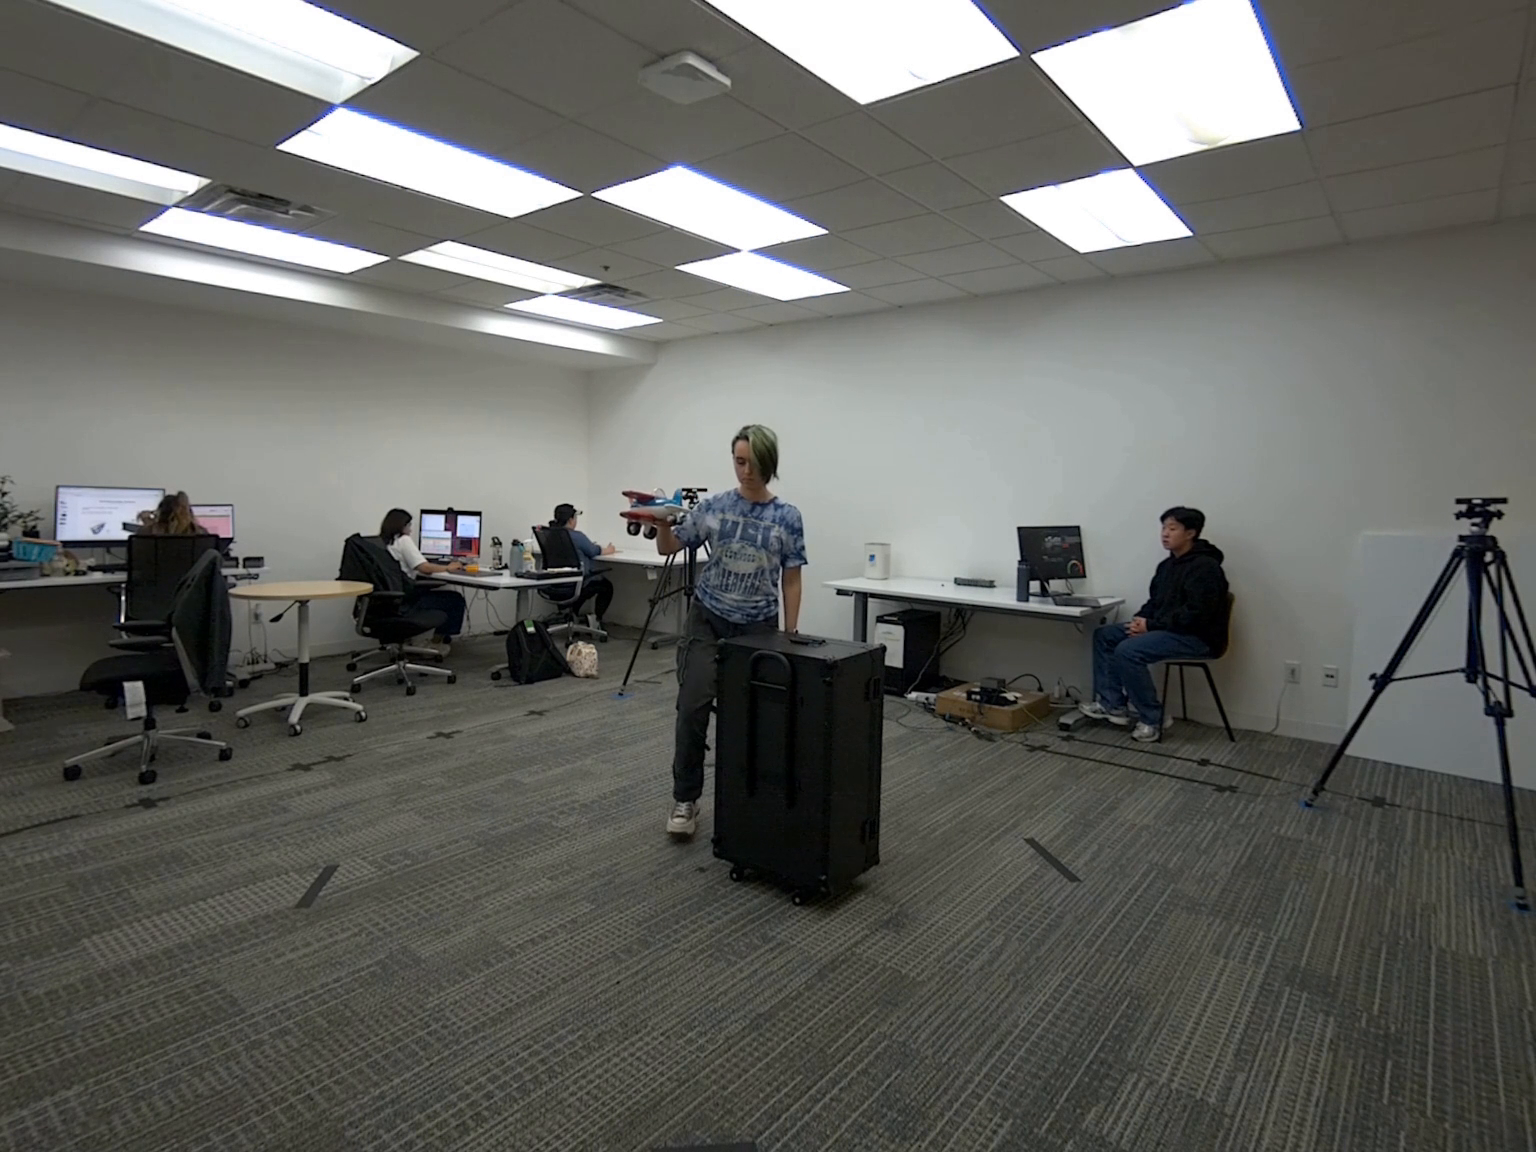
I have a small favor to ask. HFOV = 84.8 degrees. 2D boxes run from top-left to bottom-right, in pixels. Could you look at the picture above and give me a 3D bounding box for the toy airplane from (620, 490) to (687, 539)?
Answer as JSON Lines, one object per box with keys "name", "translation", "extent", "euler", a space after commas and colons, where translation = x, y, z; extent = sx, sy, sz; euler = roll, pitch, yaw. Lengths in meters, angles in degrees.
{"name": "toy airplane", "translation": [-0.419, -0.239, 3.173], "extent": [0.262, 0.159, 0.244], "euler": [-9, -16, 10]}
